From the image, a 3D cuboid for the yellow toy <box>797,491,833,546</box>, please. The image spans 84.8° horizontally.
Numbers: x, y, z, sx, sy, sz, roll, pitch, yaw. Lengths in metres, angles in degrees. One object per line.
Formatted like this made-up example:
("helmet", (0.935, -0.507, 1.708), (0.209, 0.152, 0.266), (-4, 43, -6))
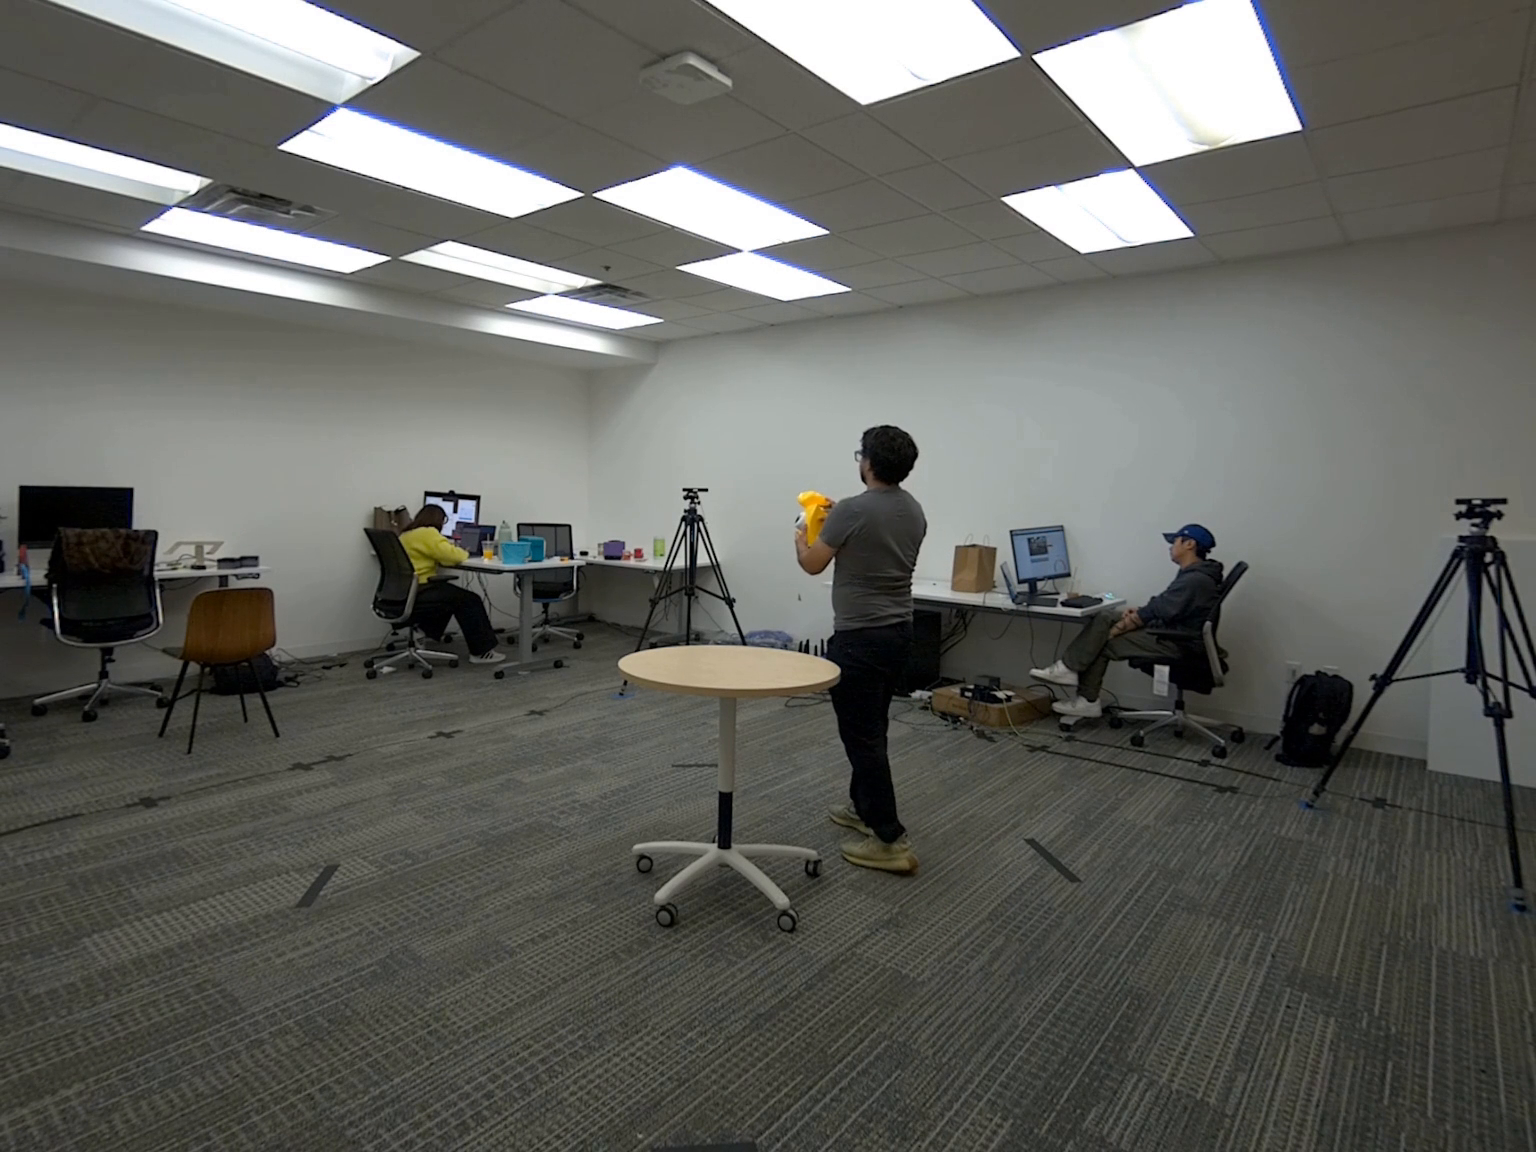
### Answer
("yellow toy", (0.171, -0.219, 3.702), (0.199, 0.232, 0.197), (0, -40, 46))
